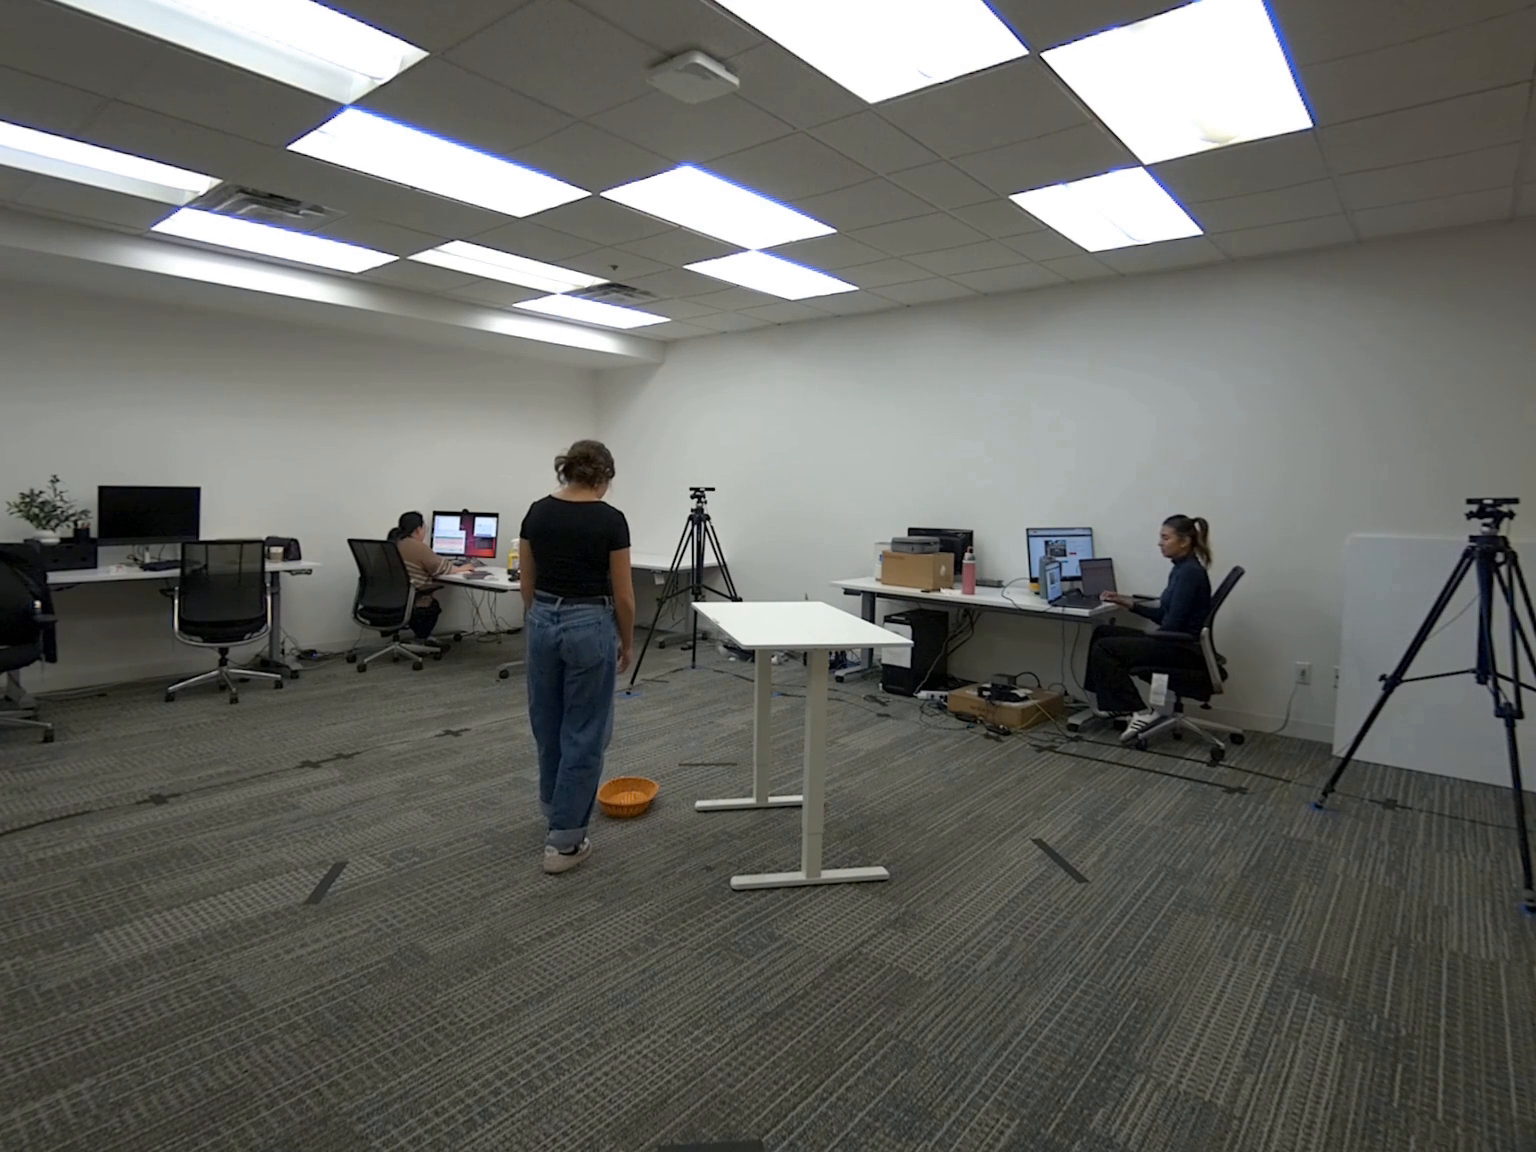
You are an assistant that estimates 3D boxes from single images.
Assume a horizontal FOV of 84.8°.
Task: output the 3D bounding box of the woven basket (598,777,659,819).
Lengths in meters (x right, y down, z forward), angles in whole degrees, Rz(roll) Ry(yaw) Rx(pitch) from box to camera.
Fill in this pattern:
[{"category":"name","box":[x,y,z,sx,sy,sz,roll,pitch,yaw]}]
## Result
[{"category":"woven basket","box":[-0.626,0.962,3.707,0.256,0.073,0.347,3,6,11]}]
